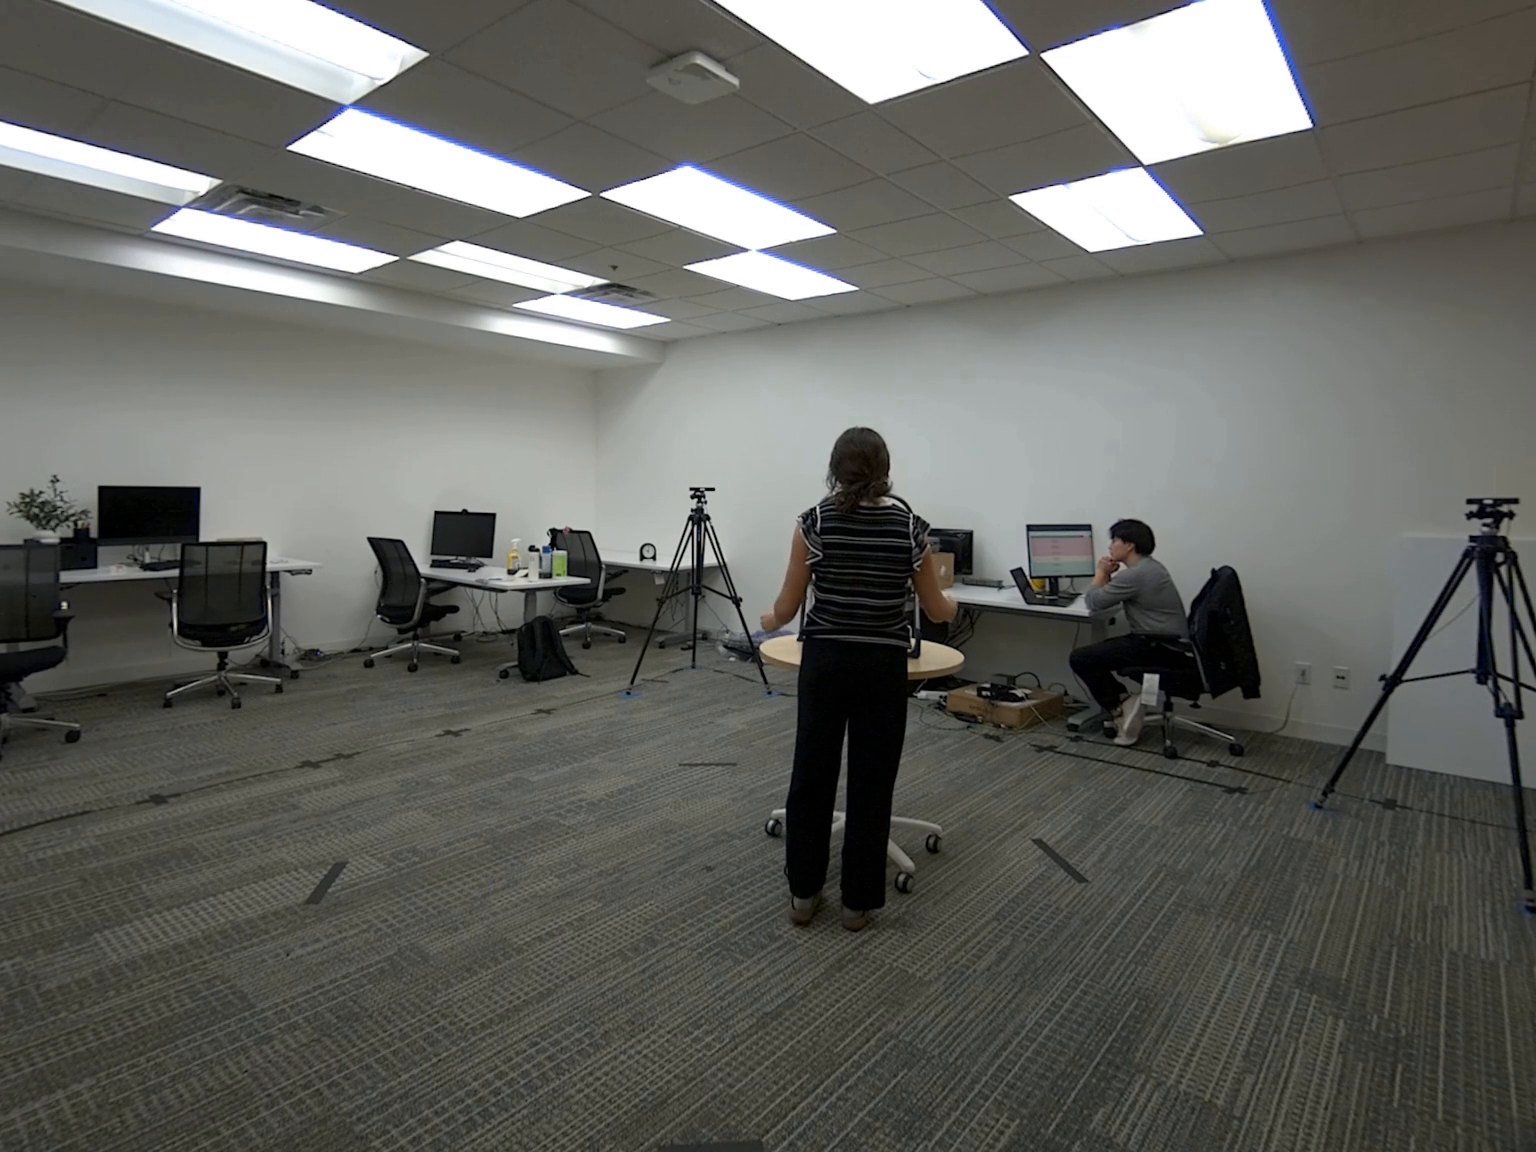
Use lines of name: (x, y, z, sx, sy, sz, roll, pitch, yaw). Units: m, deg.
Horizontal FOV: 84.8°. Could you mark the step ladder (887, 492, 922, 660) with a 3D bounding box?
step ladder: (0.335, -0.018, 3.257, 0.430, 0.603, 0.352, -2, 5, -3)
